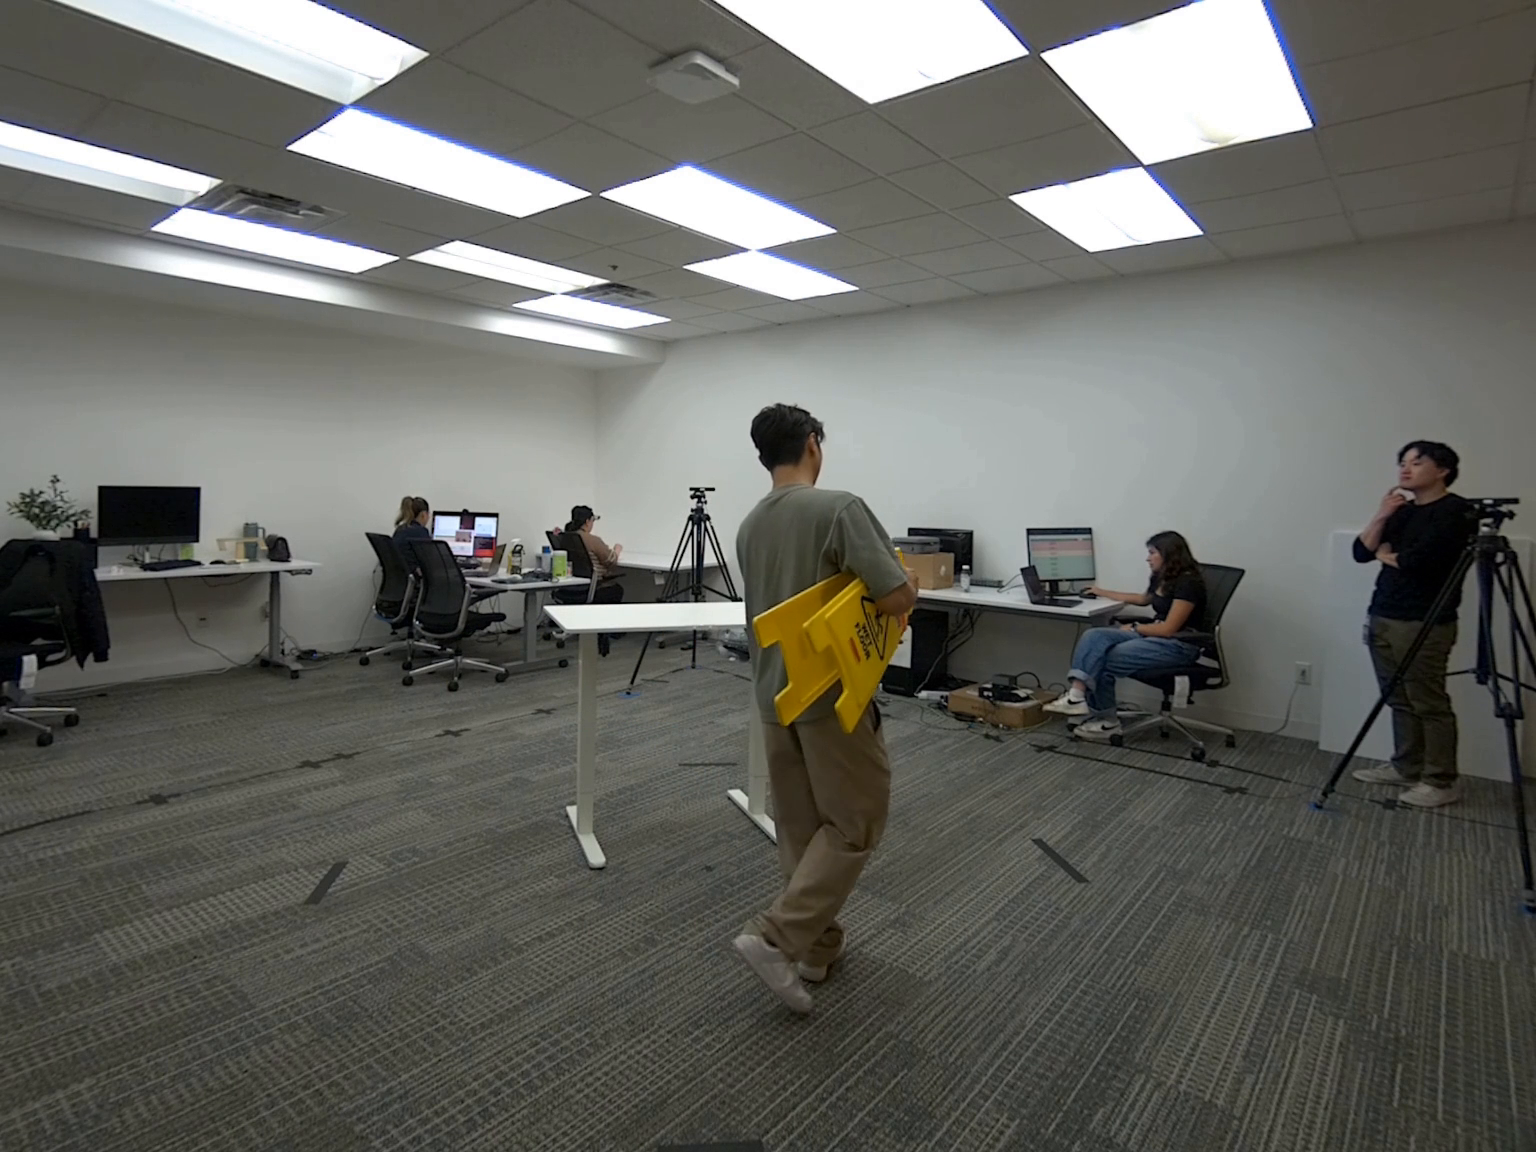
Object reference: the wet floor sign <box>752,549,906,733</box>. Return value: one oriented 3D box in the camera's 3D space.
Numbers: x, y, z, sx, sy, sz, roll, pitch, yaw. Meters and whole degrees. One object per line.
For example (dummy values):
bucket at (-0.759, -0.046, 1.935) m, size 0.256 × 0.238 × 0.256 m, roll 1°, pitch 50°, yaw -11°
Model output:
wet floor sign at (0.206, 0.131, 2.237) m, size 0.297 × 0.278 × 0.637 m, roll -8°, pitch 15°, yaw 40°
